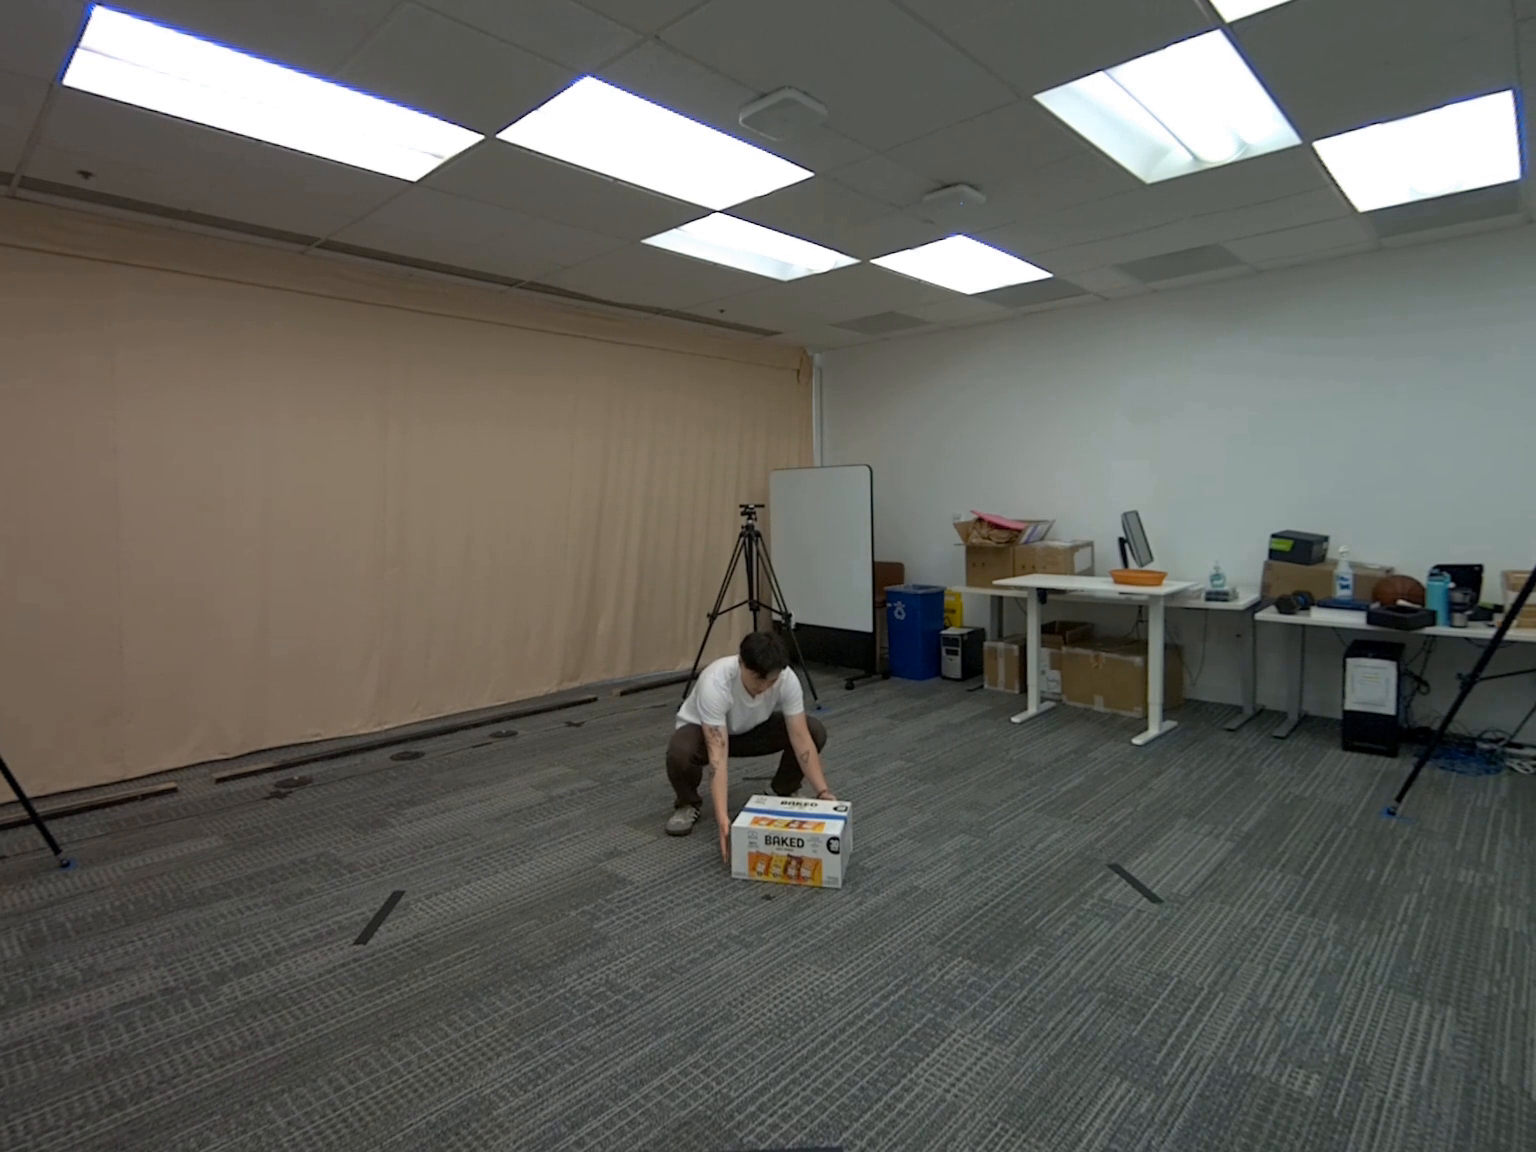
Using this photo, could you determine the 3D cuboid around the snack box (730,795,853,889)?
[{"bbox_3d":[0.099,1.006,3.234,0.412,0.205,0.336,0,5,14],"label":"snack box"}]
